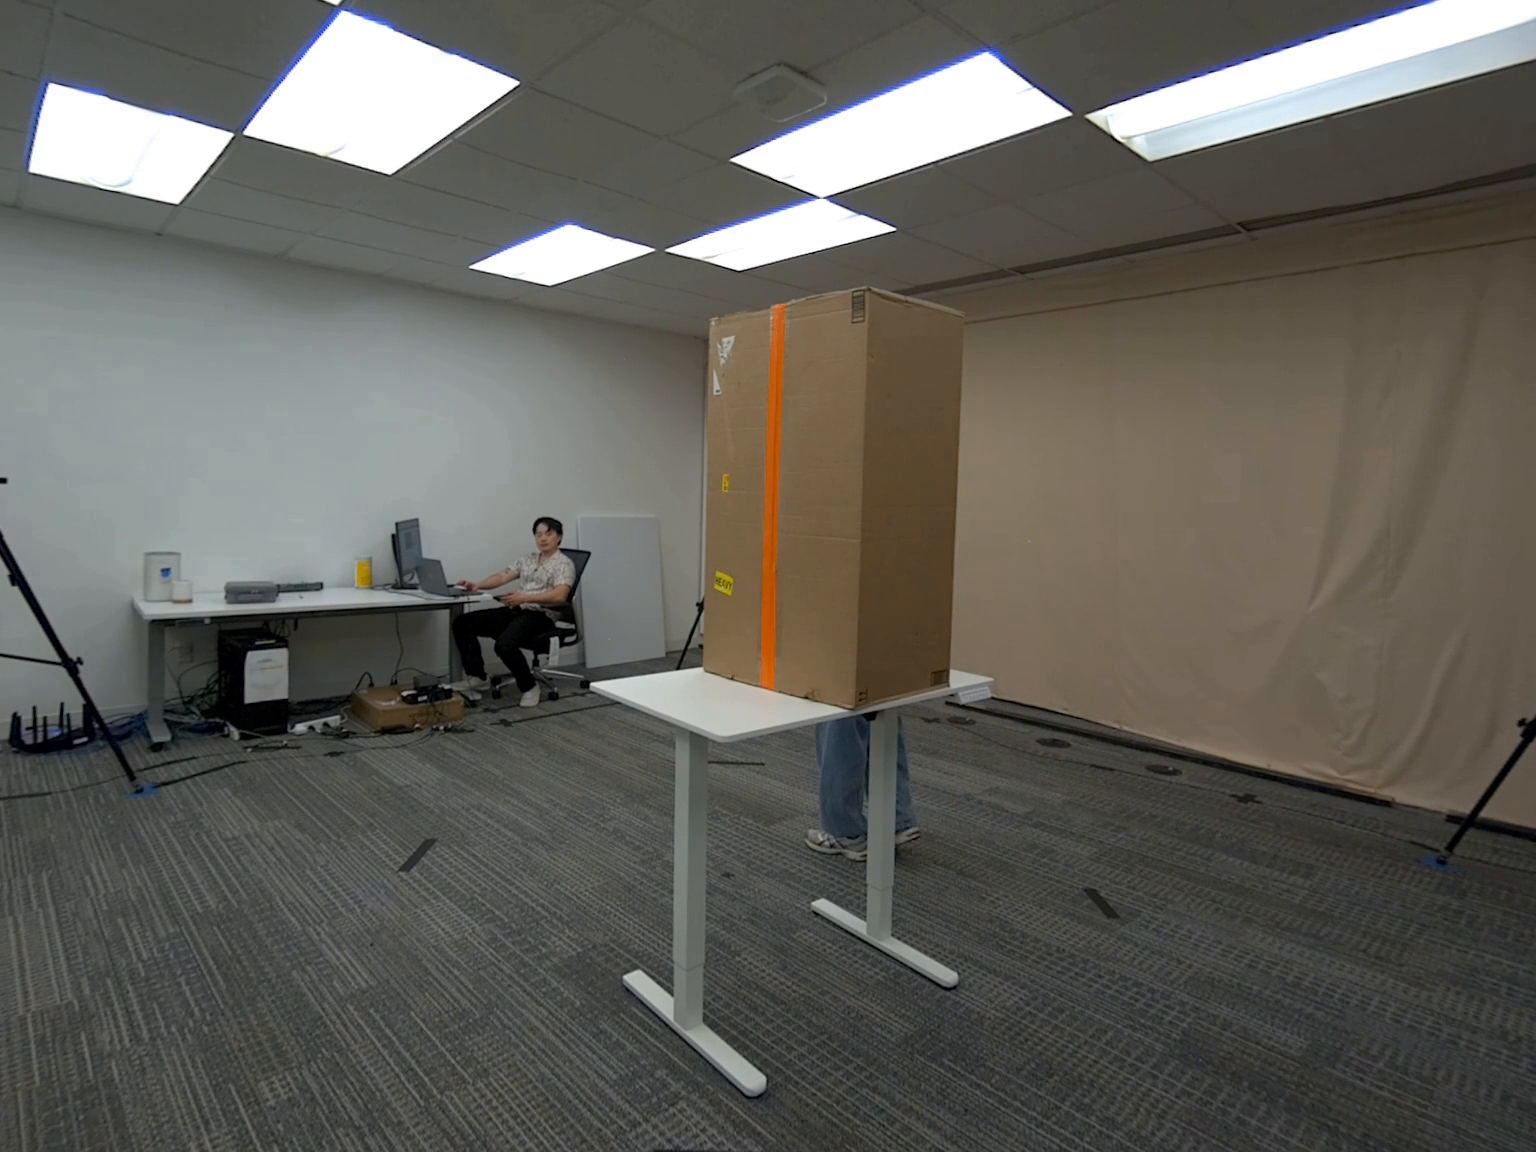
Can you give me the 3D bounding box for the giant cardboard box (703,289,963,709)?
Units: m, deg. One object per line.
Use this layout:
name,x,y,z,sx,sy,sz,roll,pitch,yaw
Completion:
giant cardboard box,0.164,-0.208,2.361,0.416,1.023,0.592,-2,5,-43
